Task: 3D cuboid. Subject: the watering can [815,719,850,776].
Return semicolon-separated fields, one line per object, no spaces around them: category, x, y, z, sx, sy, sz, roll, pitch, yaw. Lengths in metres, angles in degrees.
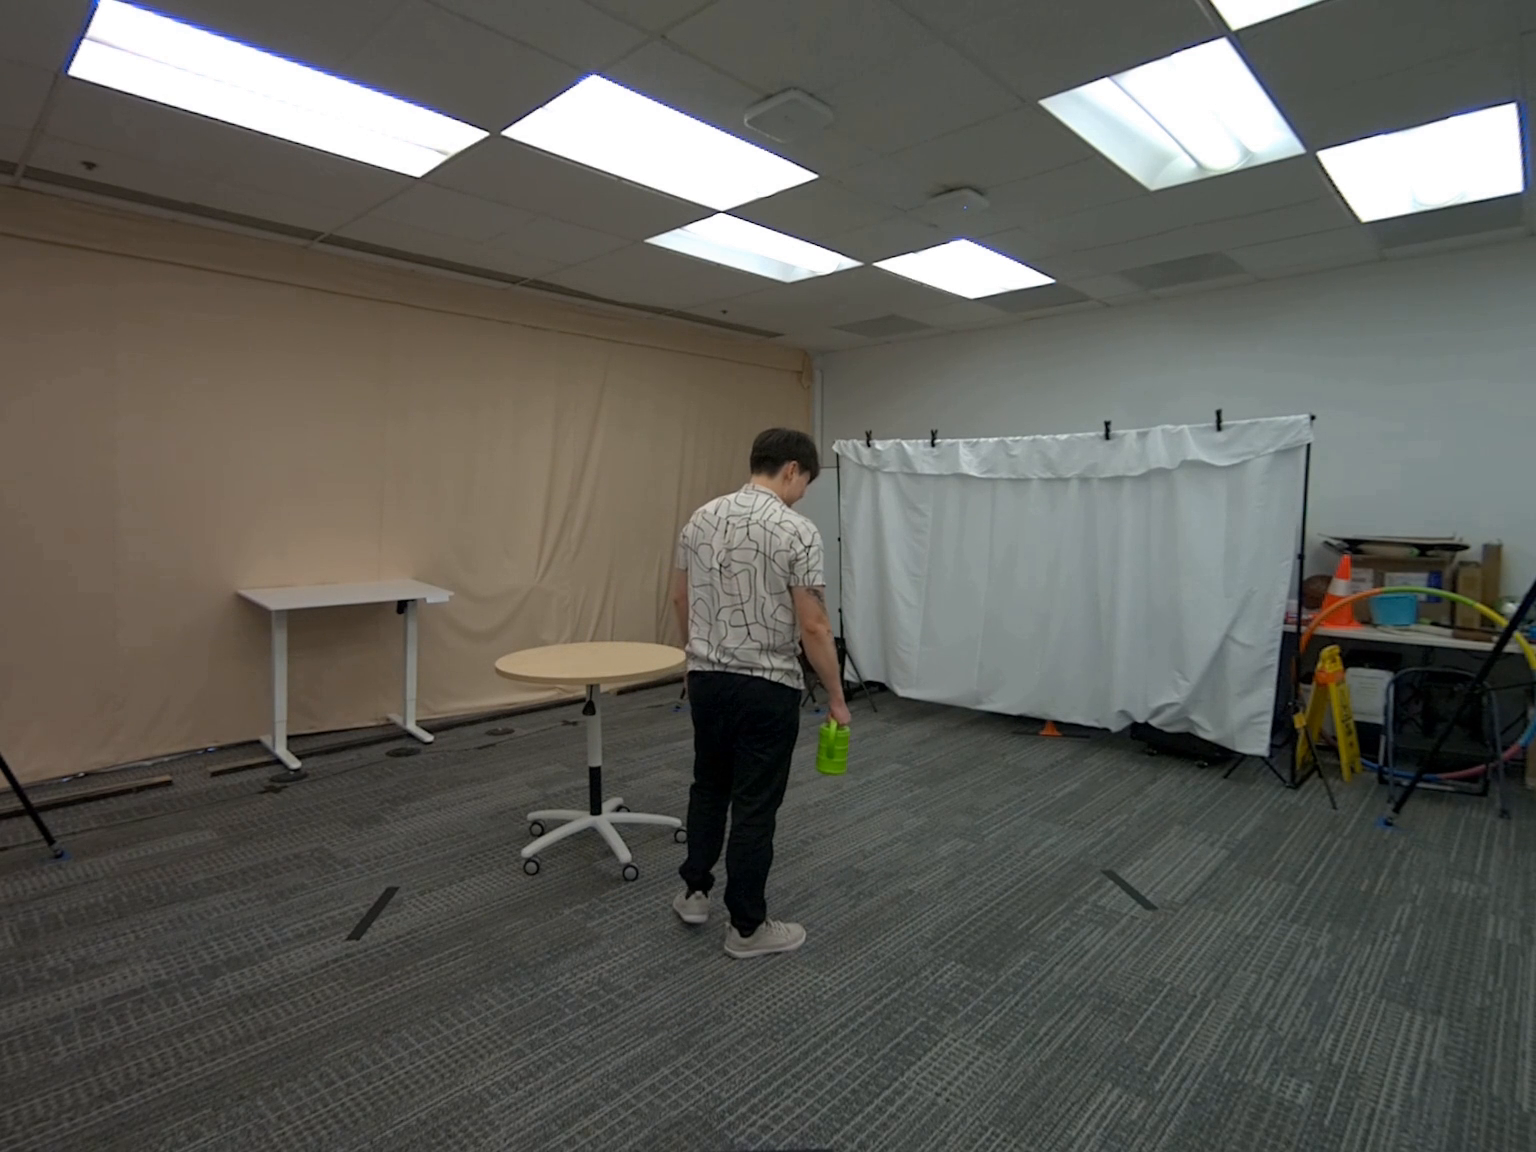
watering can;0.216;0.513;2.606;0.100;0.177;0.271;8;1;22
